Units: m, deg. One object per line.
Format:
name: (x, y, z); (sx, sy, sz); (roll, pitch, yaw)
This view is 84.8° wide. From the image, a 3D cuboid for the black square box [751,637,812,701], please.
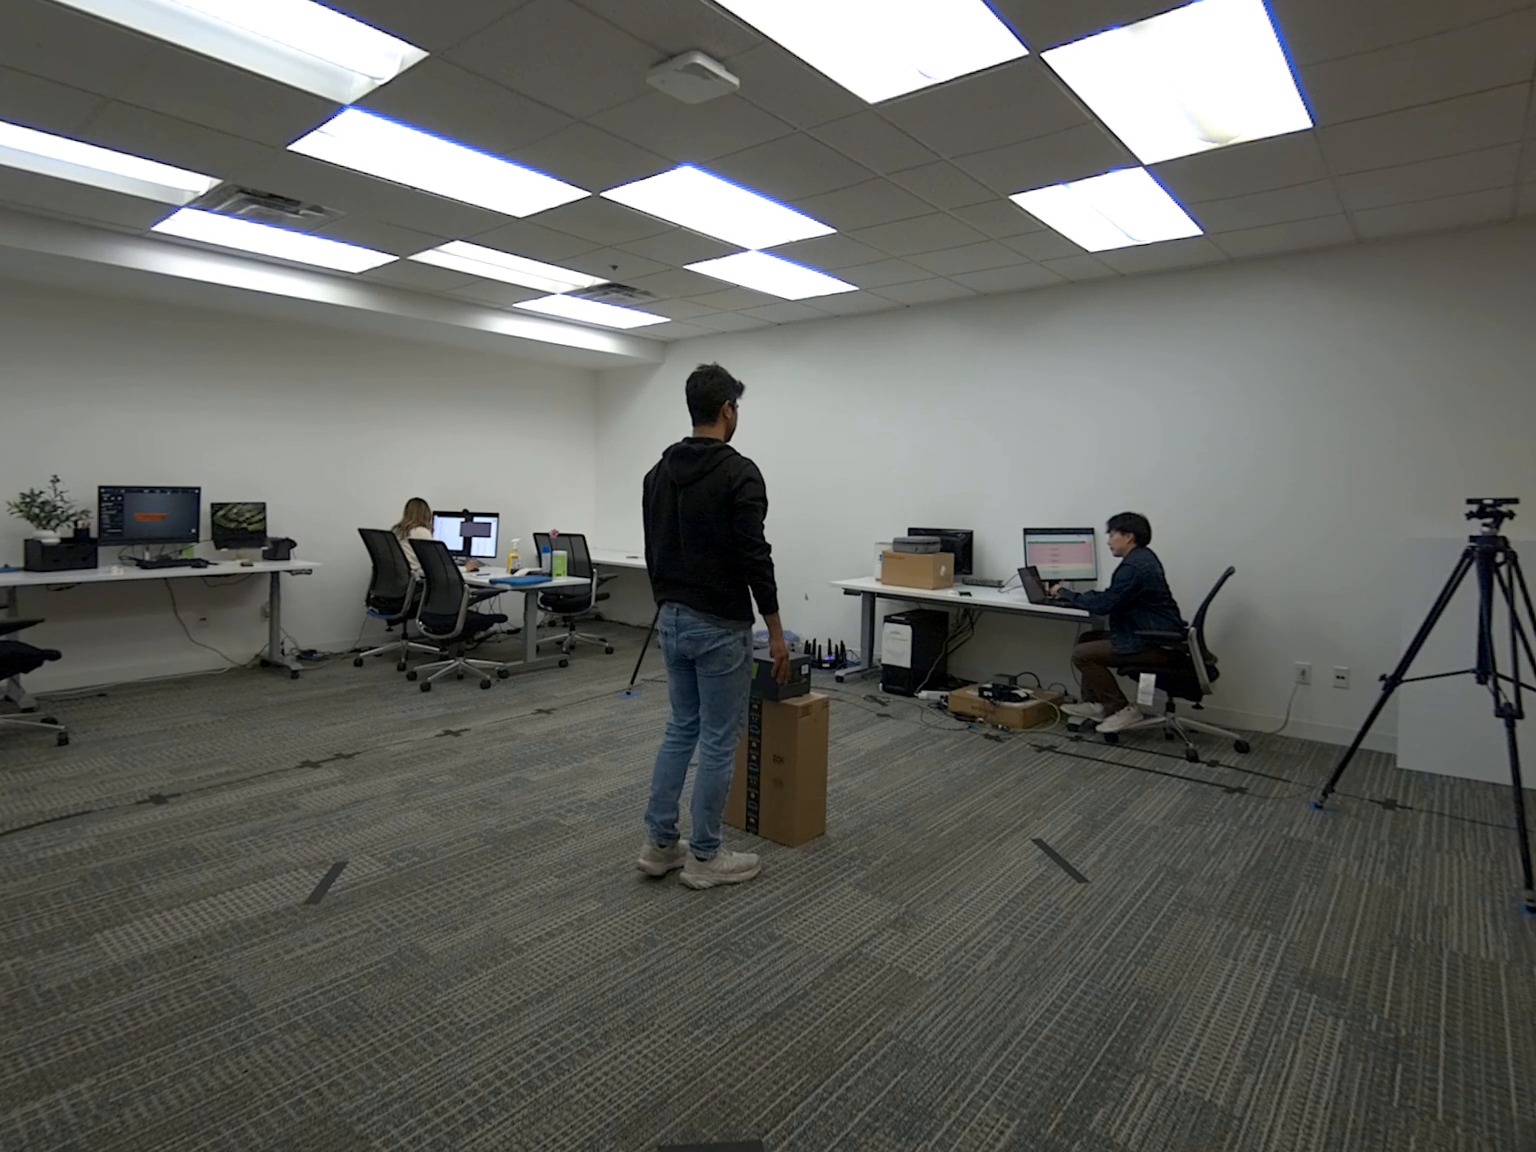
black square box: (0.011, 0.391, 3.462); (0.236, 0.155, 0.210); (5, 6, 43)
